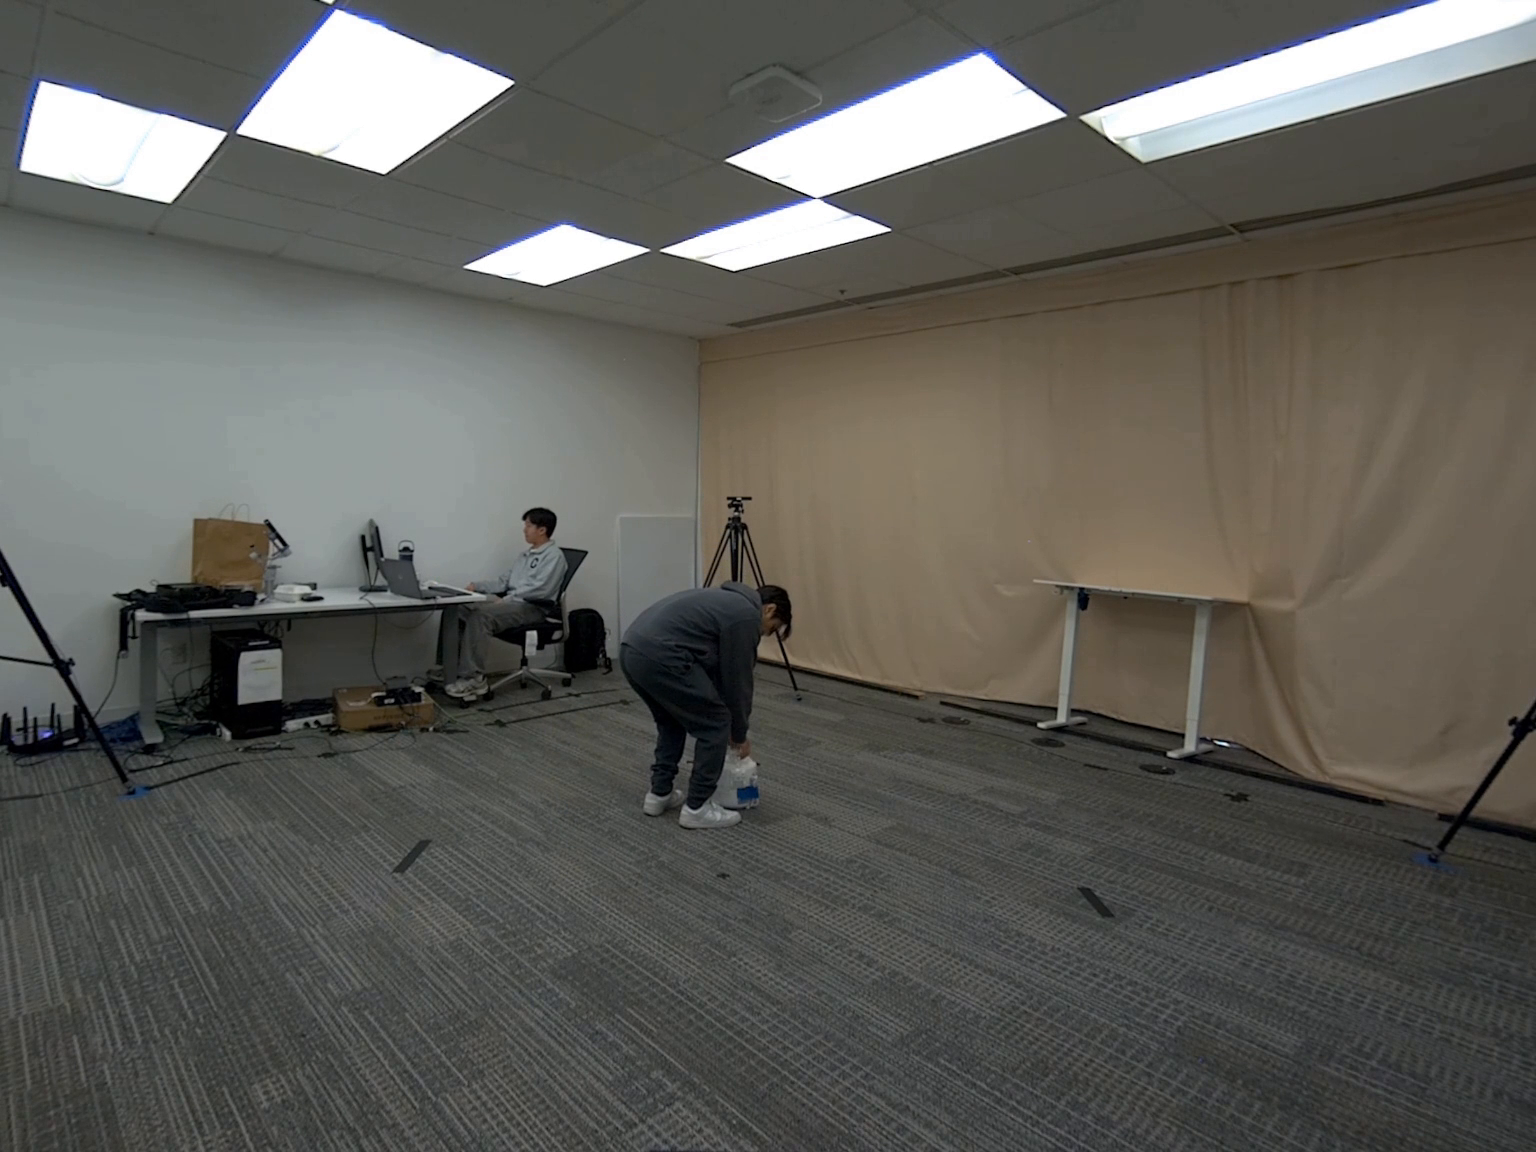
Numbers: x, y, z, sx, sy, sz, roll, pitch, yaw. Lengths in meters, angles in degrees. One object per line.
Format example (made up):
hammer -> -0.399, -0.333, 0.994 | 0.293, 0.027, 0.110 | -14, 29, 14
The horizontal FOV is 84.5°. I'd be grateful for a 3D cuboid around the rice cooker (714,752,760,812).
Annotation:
rice cooker -> -0.174, 0.927, 3.849 | 0.215, 0.232, 0.223 | 3, 3, -13
